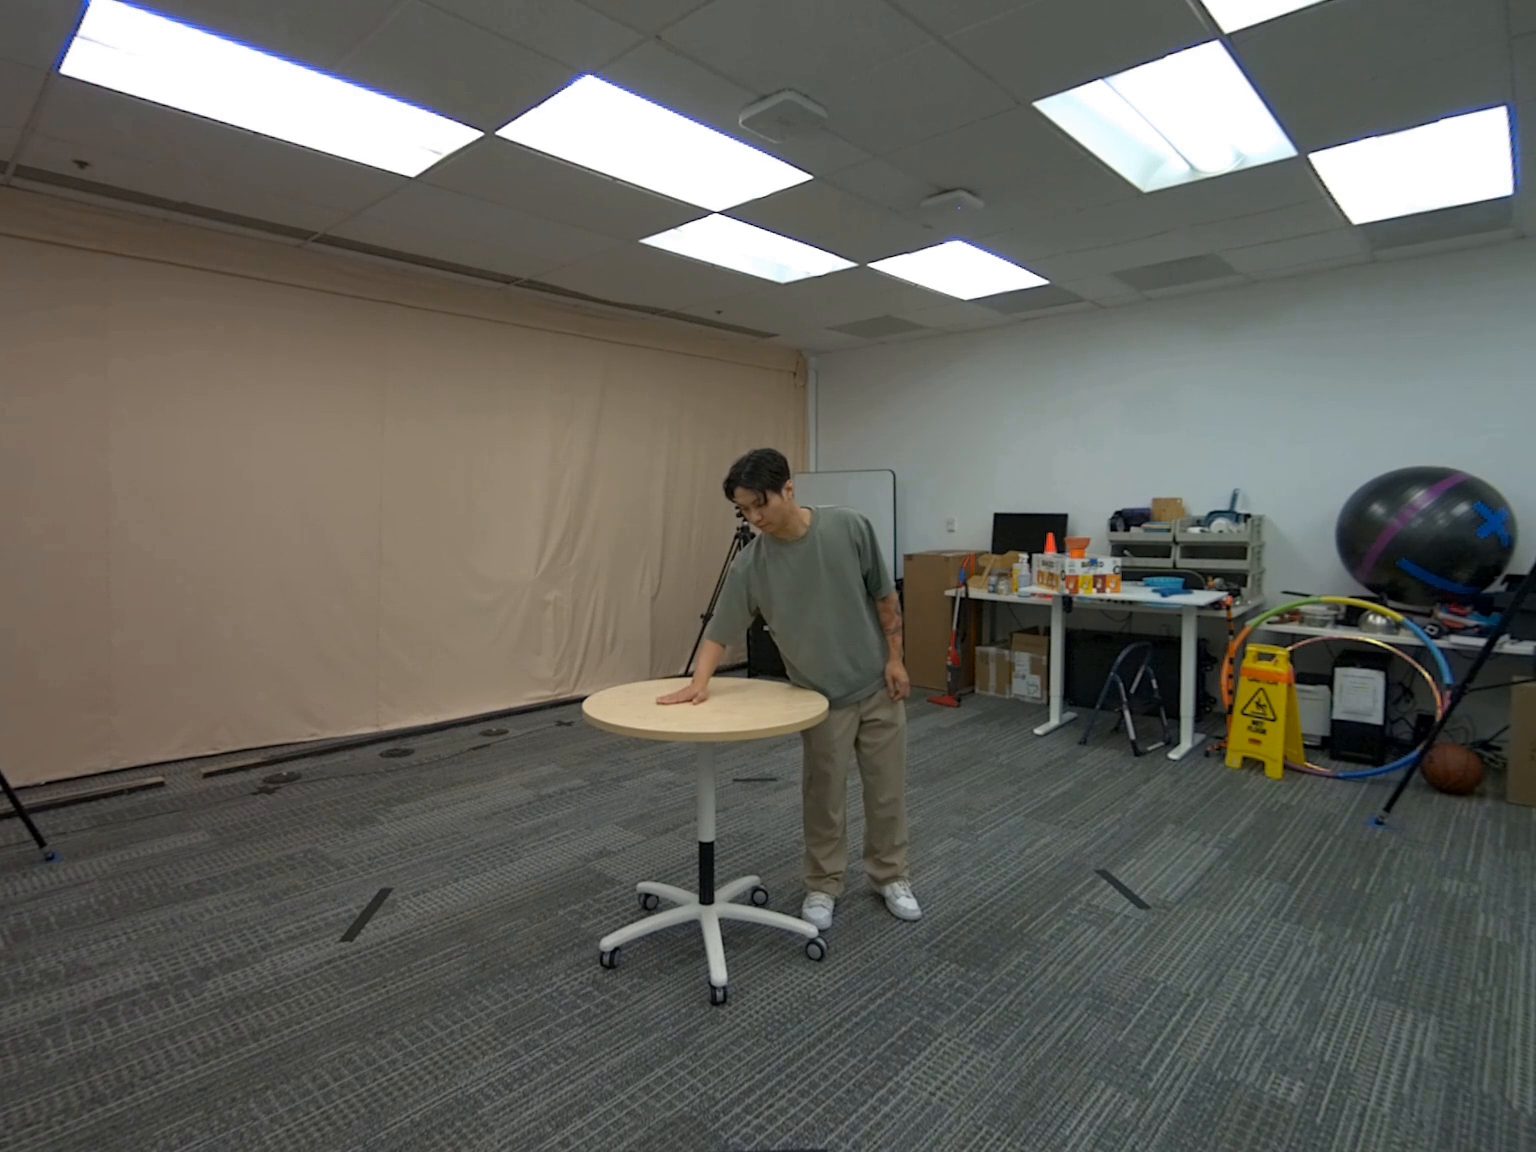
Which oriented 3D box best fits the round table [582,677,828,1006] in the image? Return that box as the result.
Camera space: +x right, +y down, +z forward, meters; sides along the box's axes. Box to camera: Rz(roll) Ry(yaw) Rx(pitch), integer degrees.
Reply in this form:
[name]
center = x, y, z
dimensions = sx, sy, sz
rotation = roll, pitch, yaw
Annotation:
[round table]
center = -0.192, 0.787, 2.645
dimensions = 0.763, 0.792, 0.766
rotation = 0, 3, -2
